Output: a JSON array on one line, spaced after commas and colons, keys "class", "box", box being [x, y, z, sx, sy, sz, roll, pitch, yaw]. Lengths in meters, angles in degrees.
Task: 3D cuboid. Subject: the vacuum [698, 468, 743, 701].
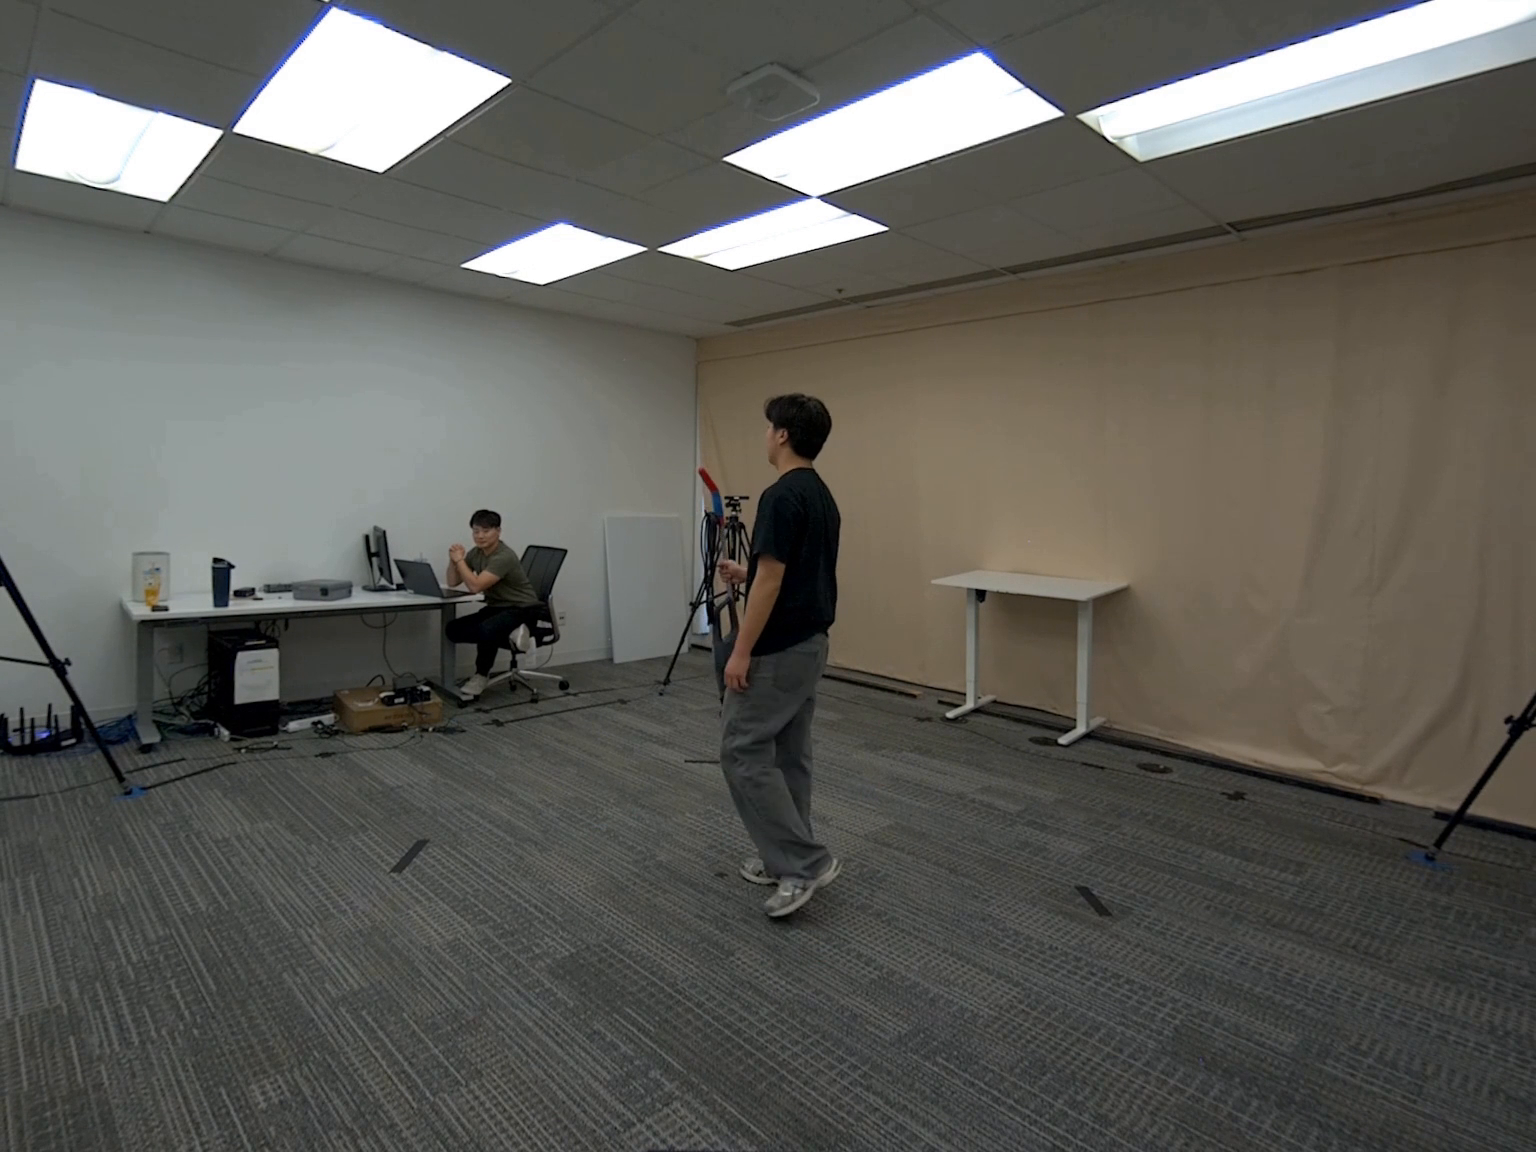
[{"class": "vacuum", "box": [-0.198, 0.102, 3.316, 0.142, 1.041, 0.257, -10, 10, -17]}]
